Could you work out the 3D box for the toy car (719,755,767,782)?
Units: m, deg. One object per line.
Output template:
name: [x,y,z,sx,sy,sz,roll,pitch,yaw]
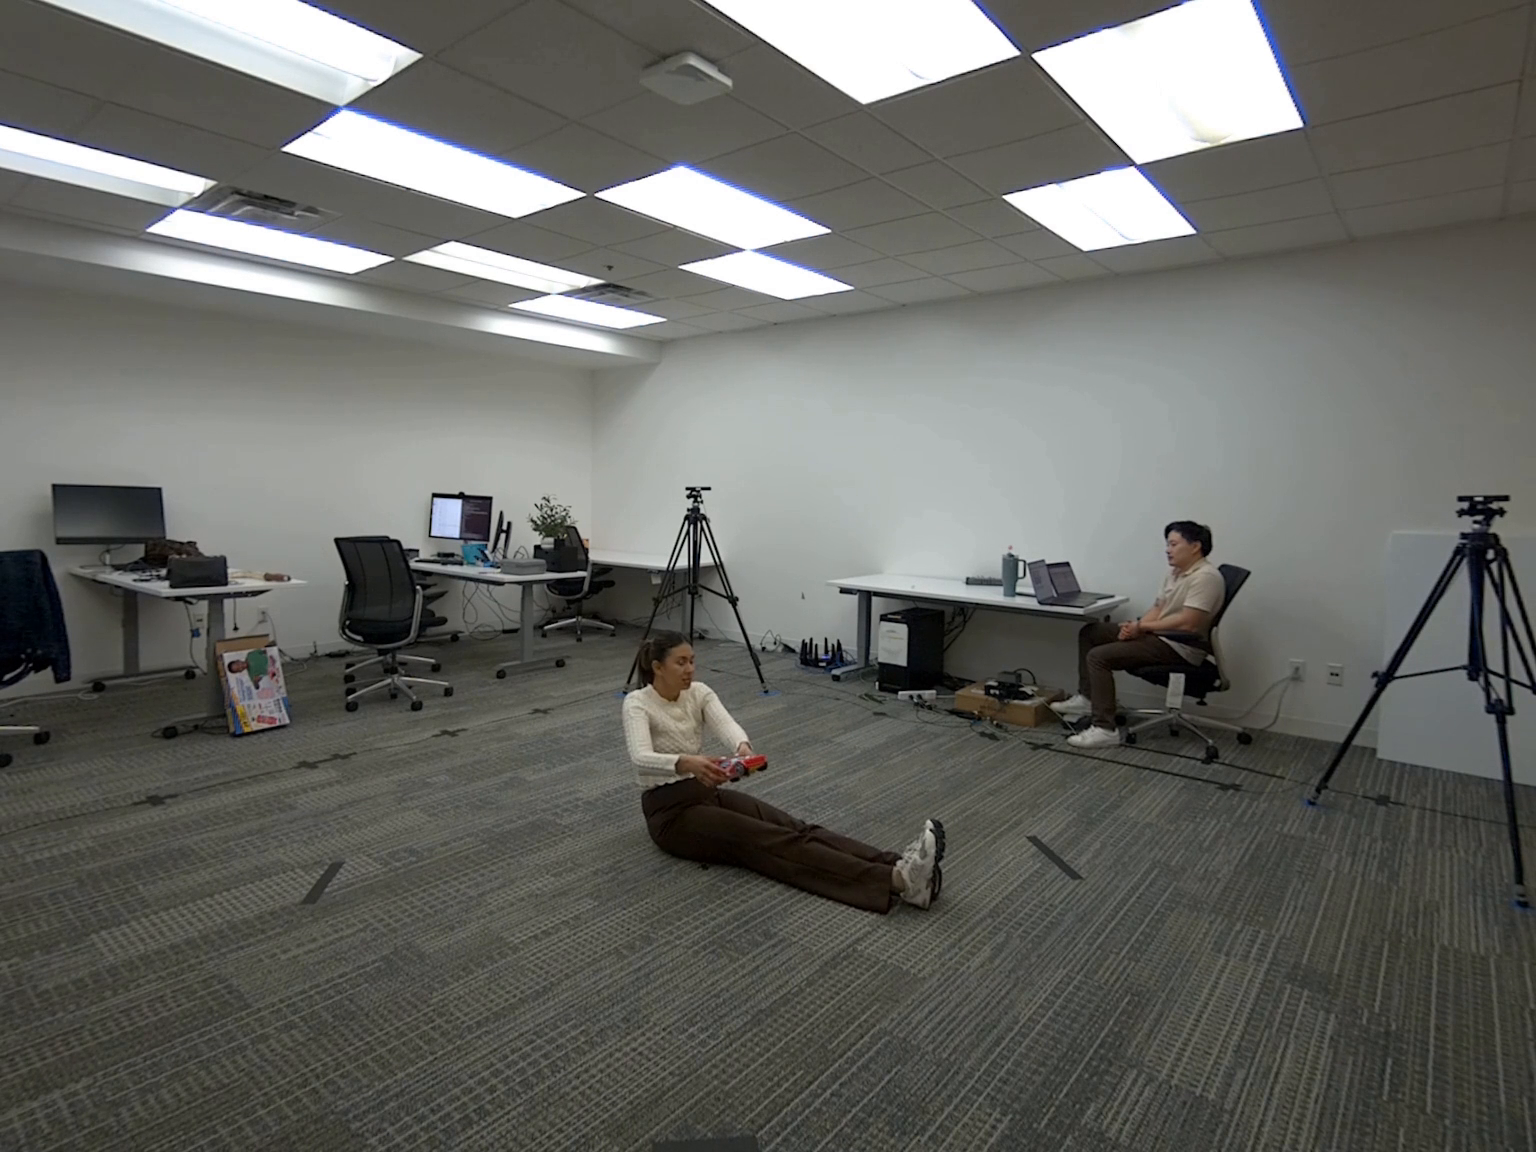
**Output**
toy car: [-0.135,0.655,2.869,0.126,0.084,0.260,-3,-10,-43]
